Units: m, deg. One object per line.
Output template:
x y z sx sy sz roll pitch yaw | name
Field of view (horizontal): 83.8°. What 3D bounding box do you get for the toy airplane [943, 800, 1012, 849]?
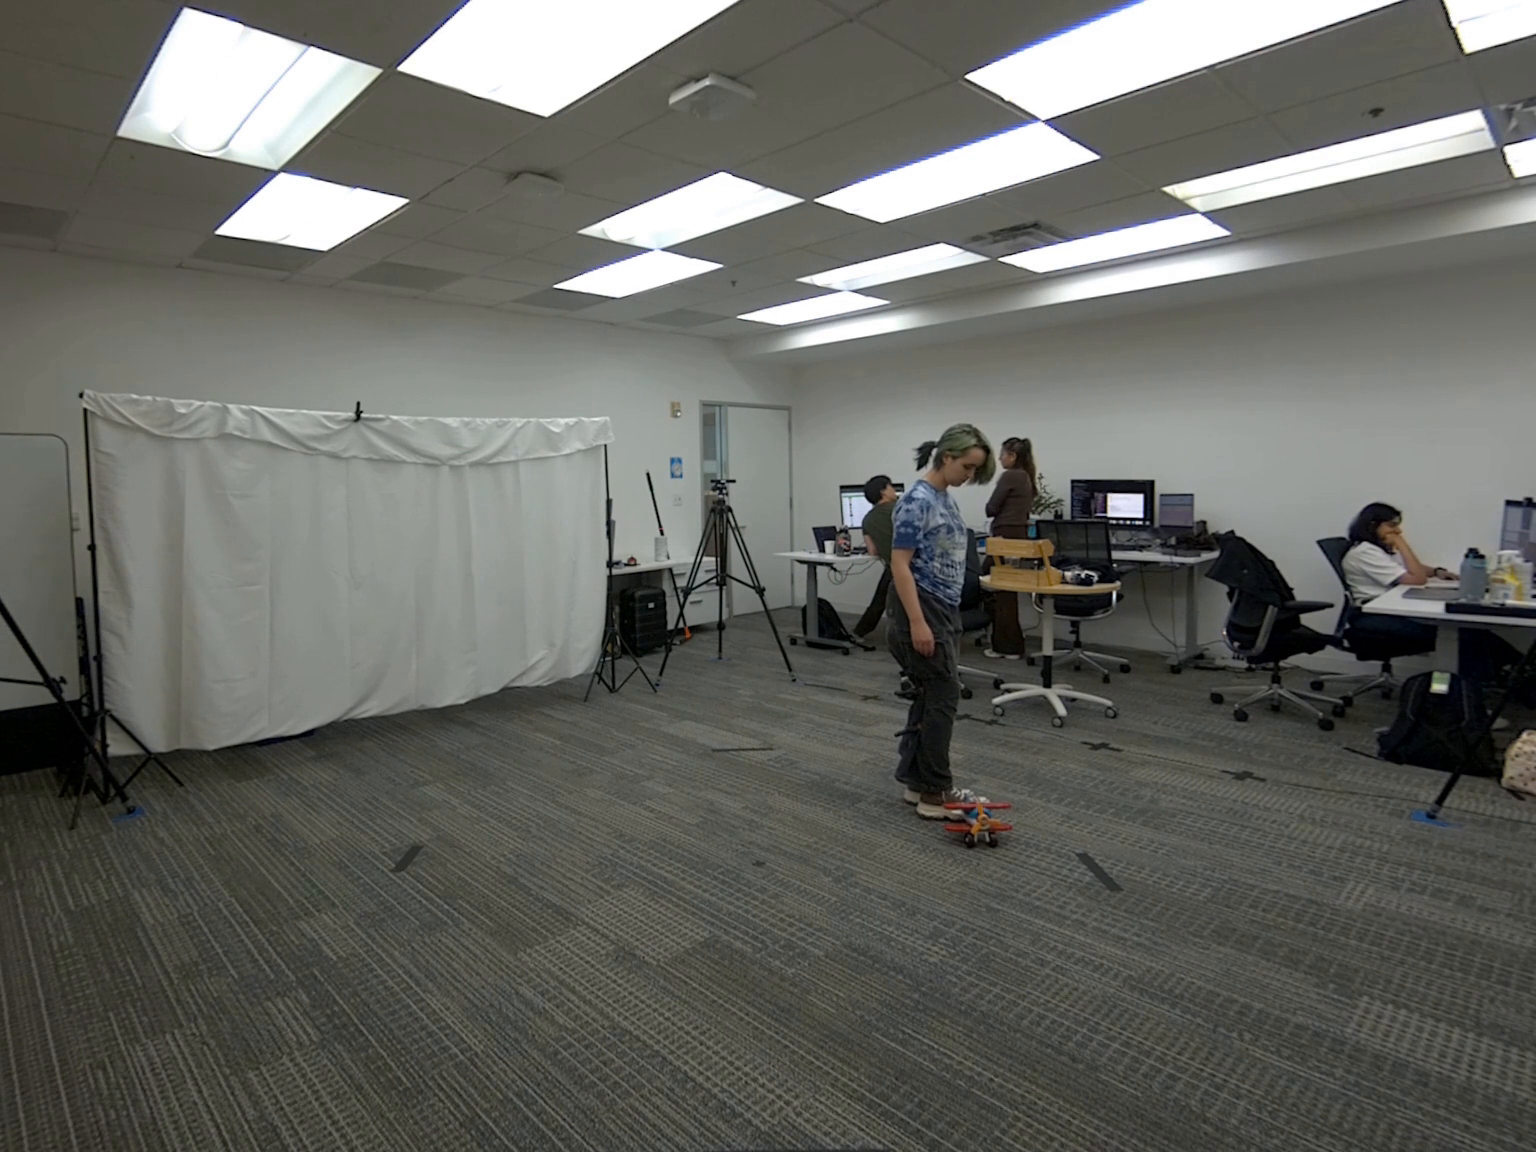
0.788 0.943 3.299 0.246 0.155 0.266 -5 8 -26 | toy airplane
